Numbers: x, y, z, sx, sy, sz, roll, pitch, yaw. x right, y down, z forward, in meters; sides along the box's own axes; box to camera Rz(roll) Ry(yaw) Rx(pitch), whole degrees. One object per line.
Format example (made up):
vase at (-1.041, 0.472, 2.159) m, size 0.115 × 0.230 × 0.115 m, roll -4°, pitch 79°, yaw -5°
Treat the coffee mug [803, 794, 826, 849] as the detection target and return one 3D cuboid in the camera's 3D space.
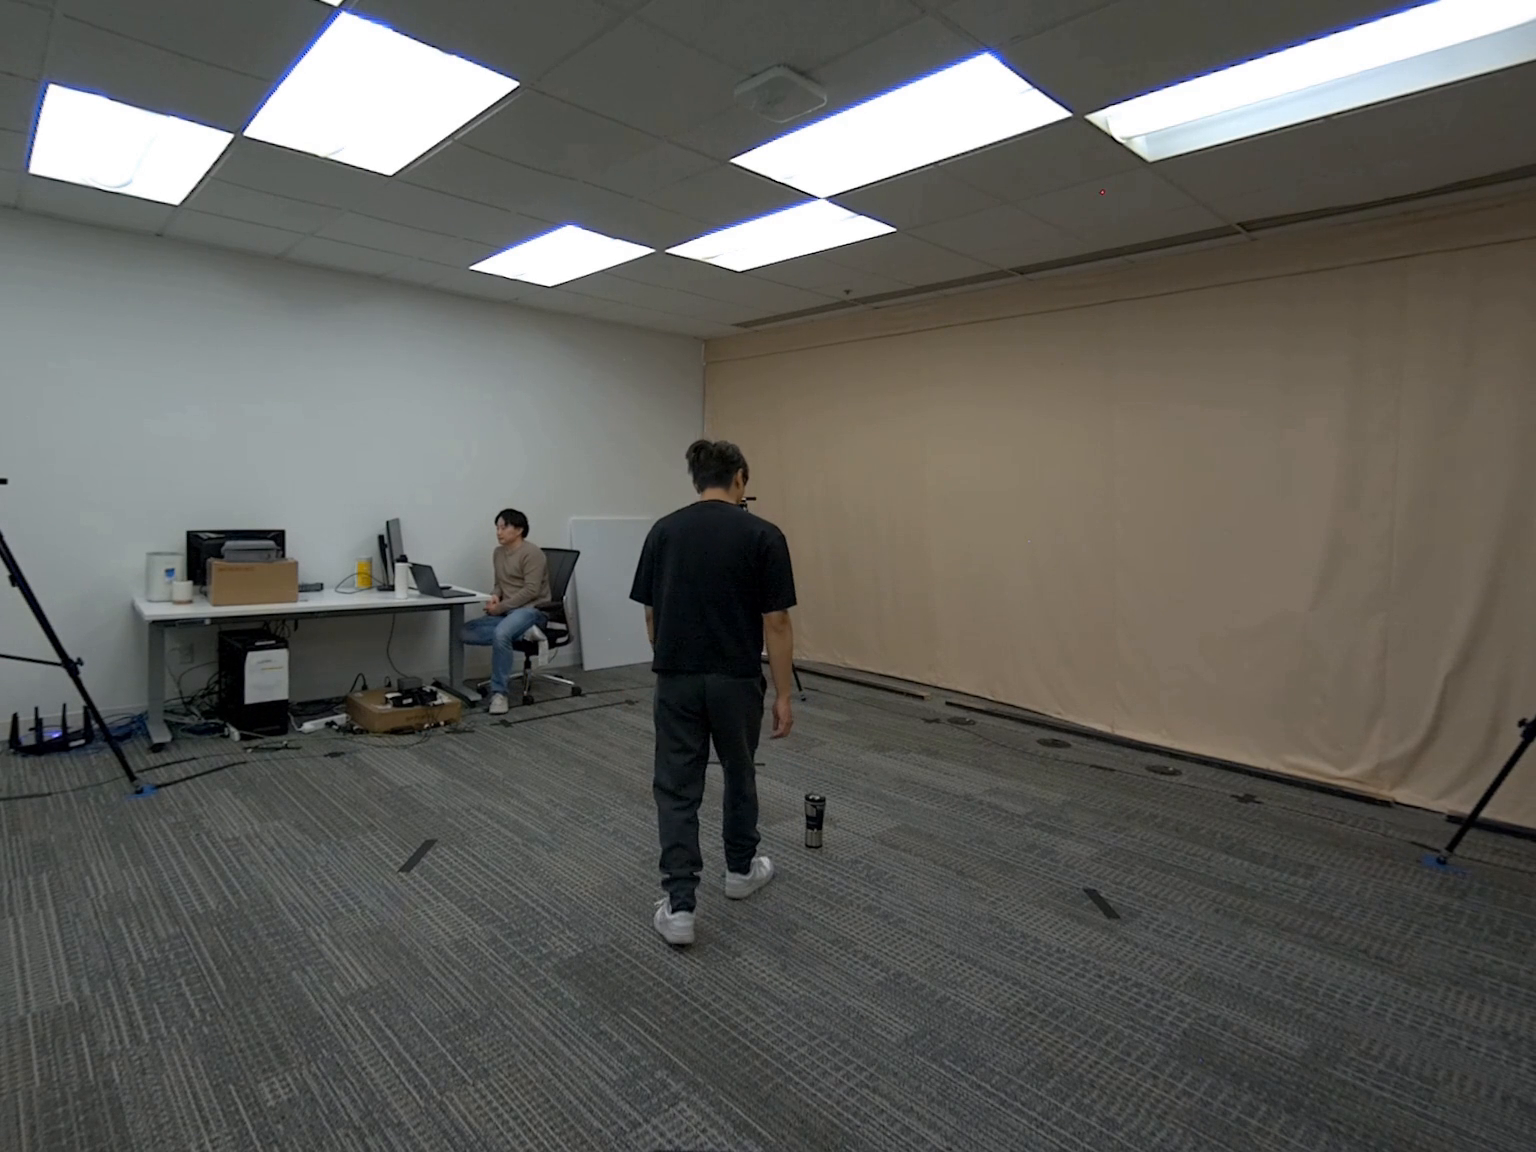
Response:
coffee mug at (0.162, 0.987, 3.385) m, size 0.119 × 0.203 × 0.090 m, roll 6°, pitch 3°, yaw -38°
